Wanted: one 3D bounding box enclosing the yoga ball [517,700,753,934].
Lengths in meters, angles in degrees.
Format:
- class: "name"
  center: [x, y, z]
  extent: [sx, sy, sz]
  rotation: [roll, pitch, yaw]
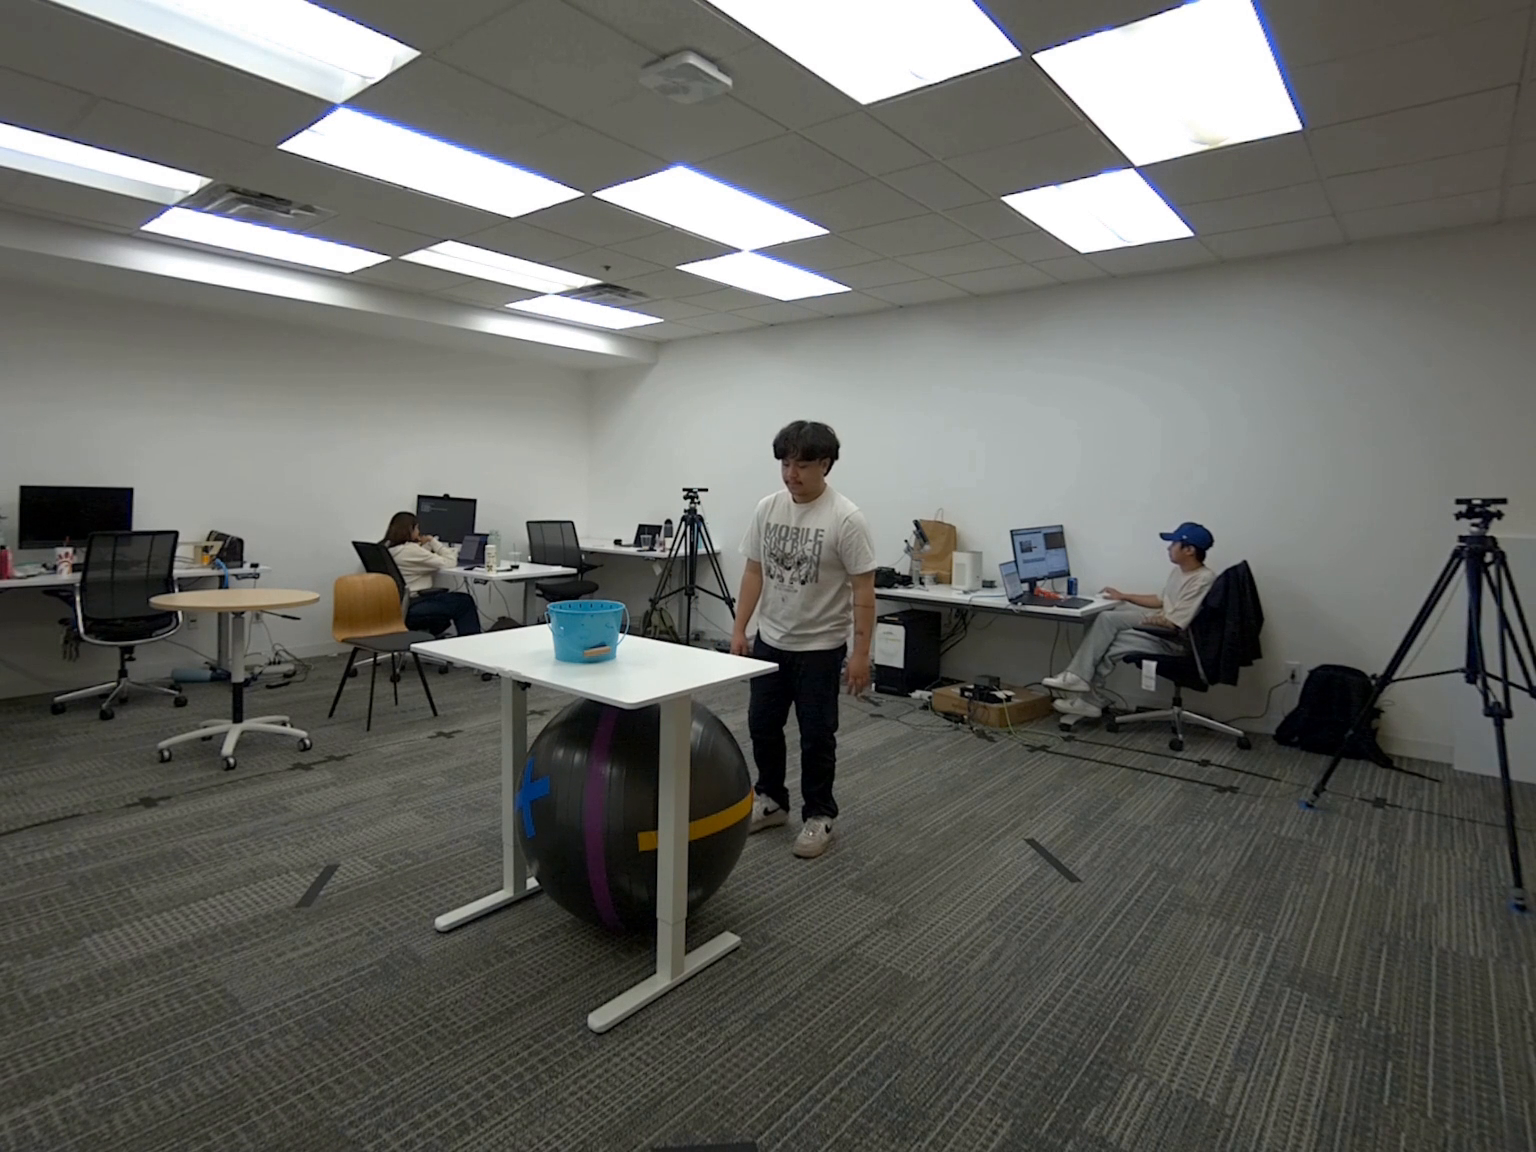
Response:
- class: "yoga ball"
  center: [-0.436, 0.736, 2.746]
  extent: [0.757, 0.755, 0.762]
  rotation: [1, 4, -2]
